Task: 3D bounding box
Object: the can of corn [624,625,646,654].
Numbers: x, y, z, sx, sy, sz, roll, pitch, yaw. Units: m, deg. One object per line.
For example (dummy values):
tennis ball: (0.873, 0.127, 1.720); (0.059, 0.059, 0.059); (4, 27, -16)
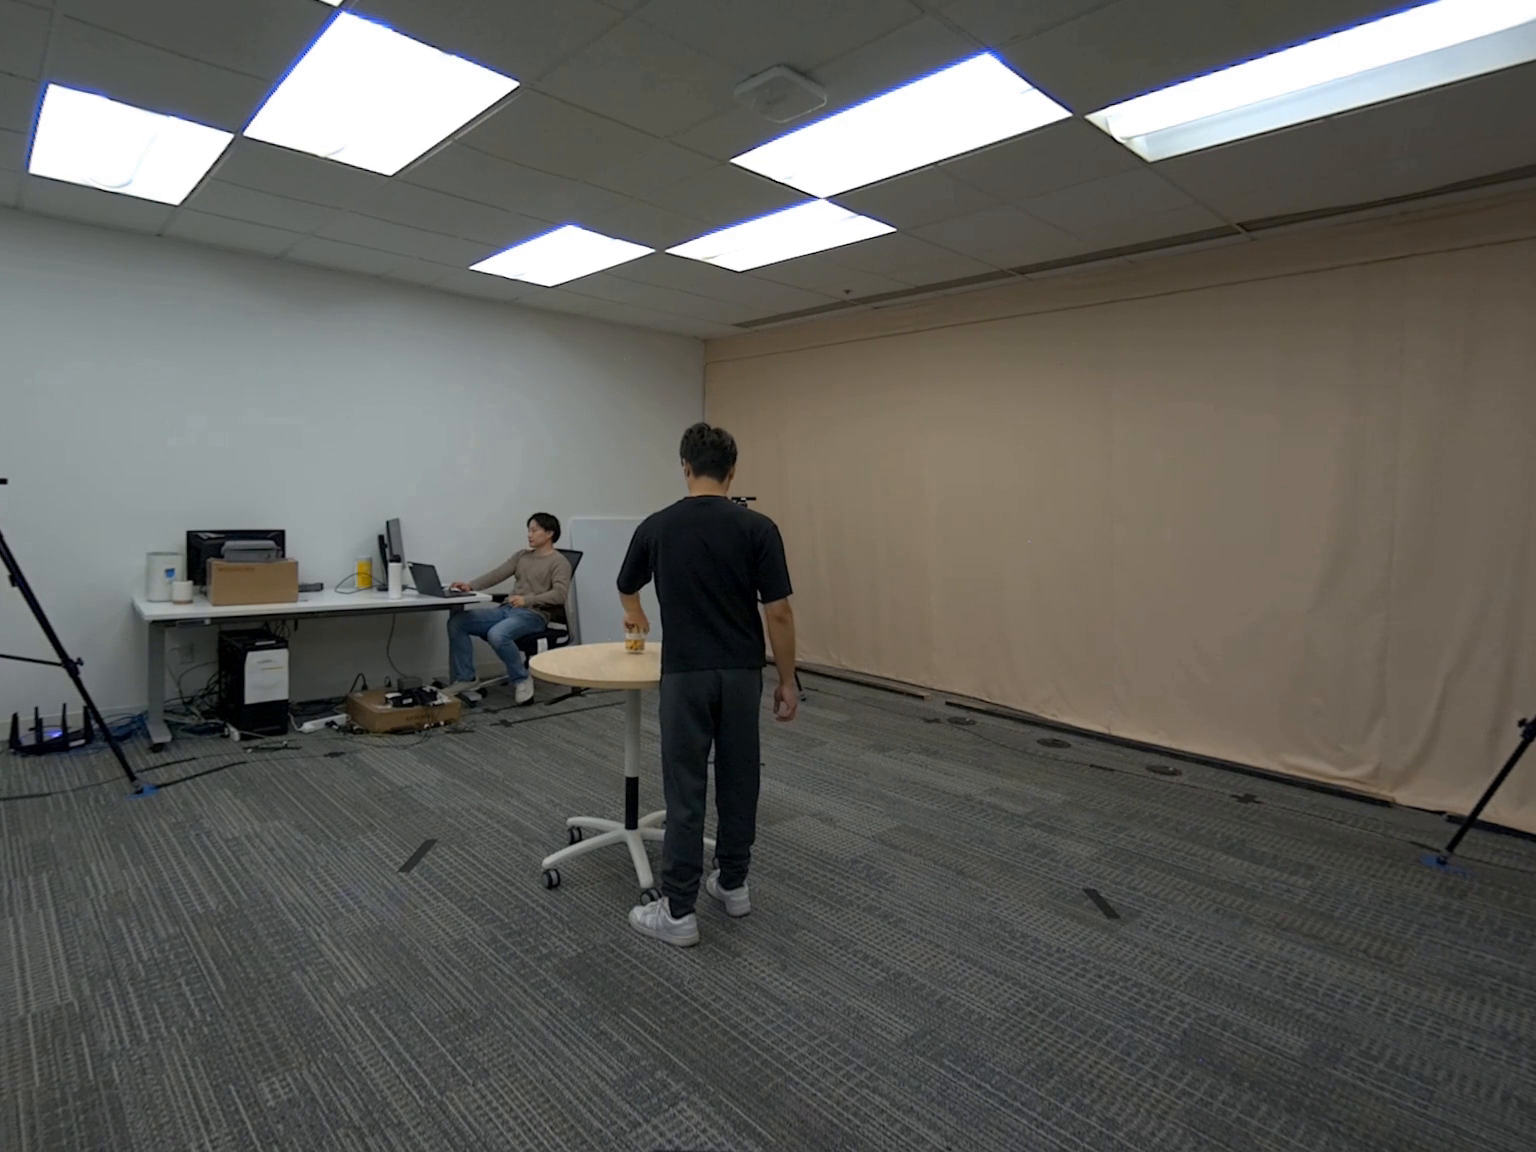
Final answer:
can of corn: (-0.525, 0.232, 3.274); (0.074, 0.111, 0.074); (1, 4, -1)
